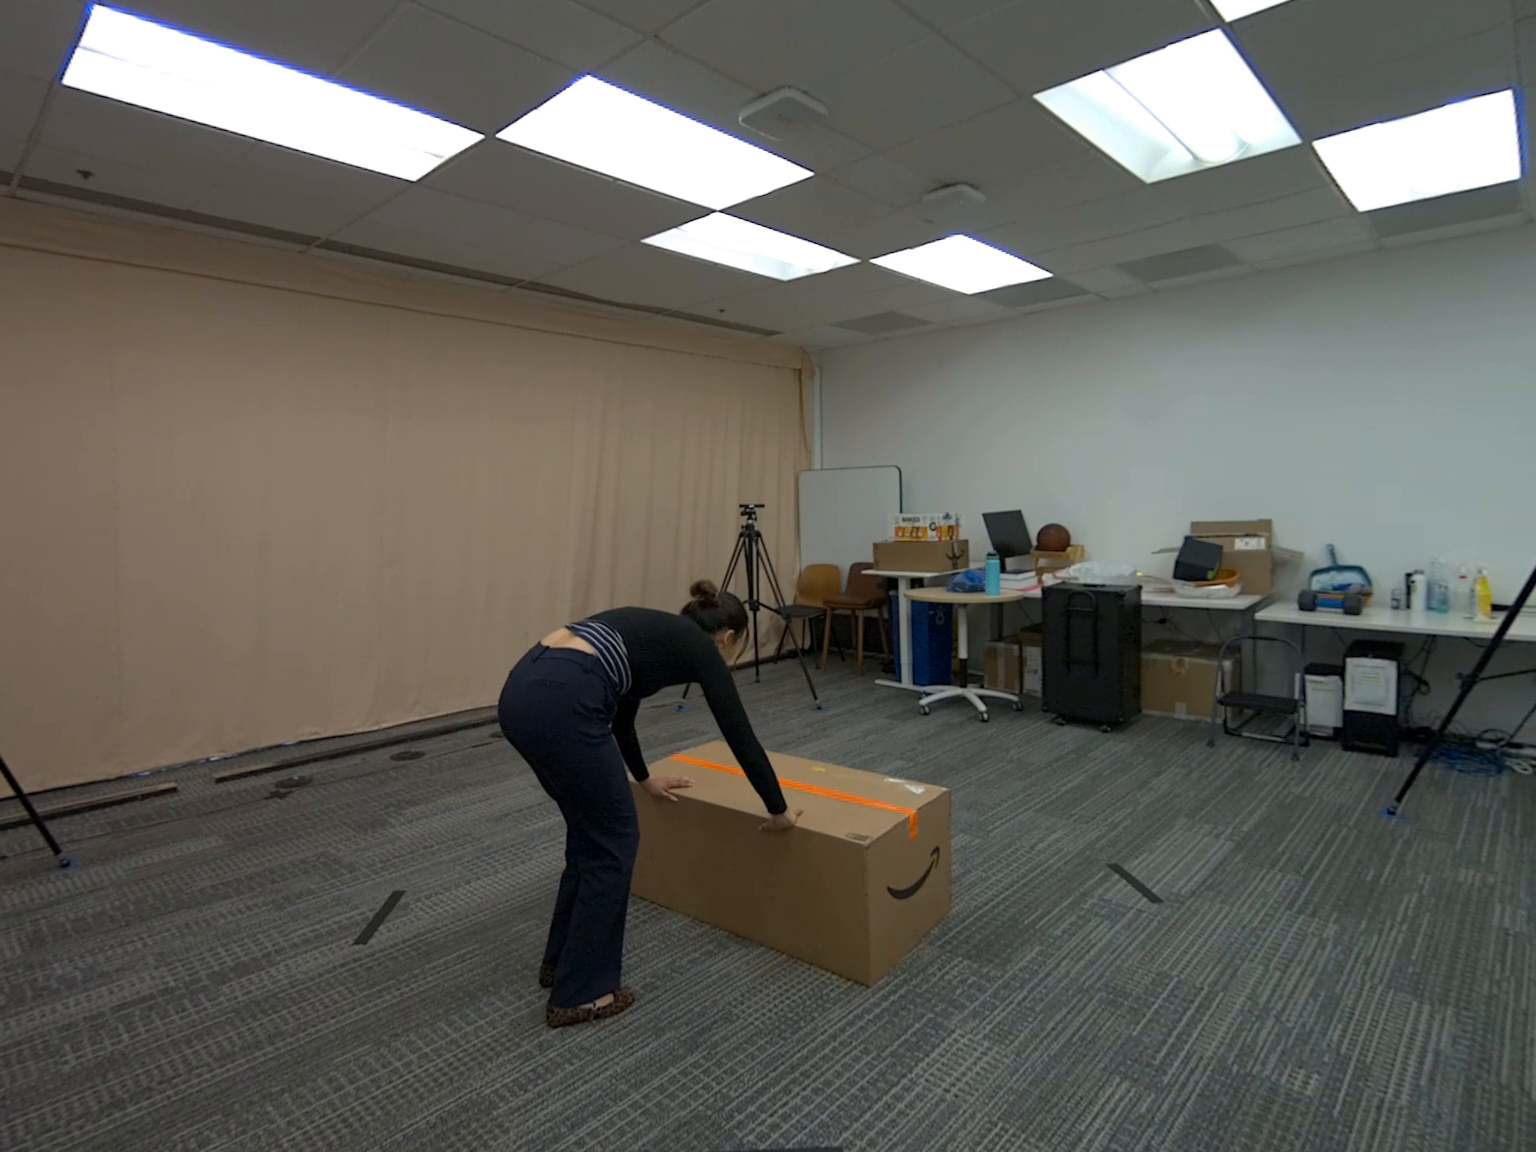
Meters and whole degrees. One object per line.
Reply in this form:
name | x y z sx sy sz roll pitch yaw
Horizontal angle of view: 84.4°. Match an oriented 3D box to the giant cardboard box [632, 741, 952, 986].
giant cardboard box | 0.048 0.928 2.951 1.059 0.425 0.561 3 6 37
